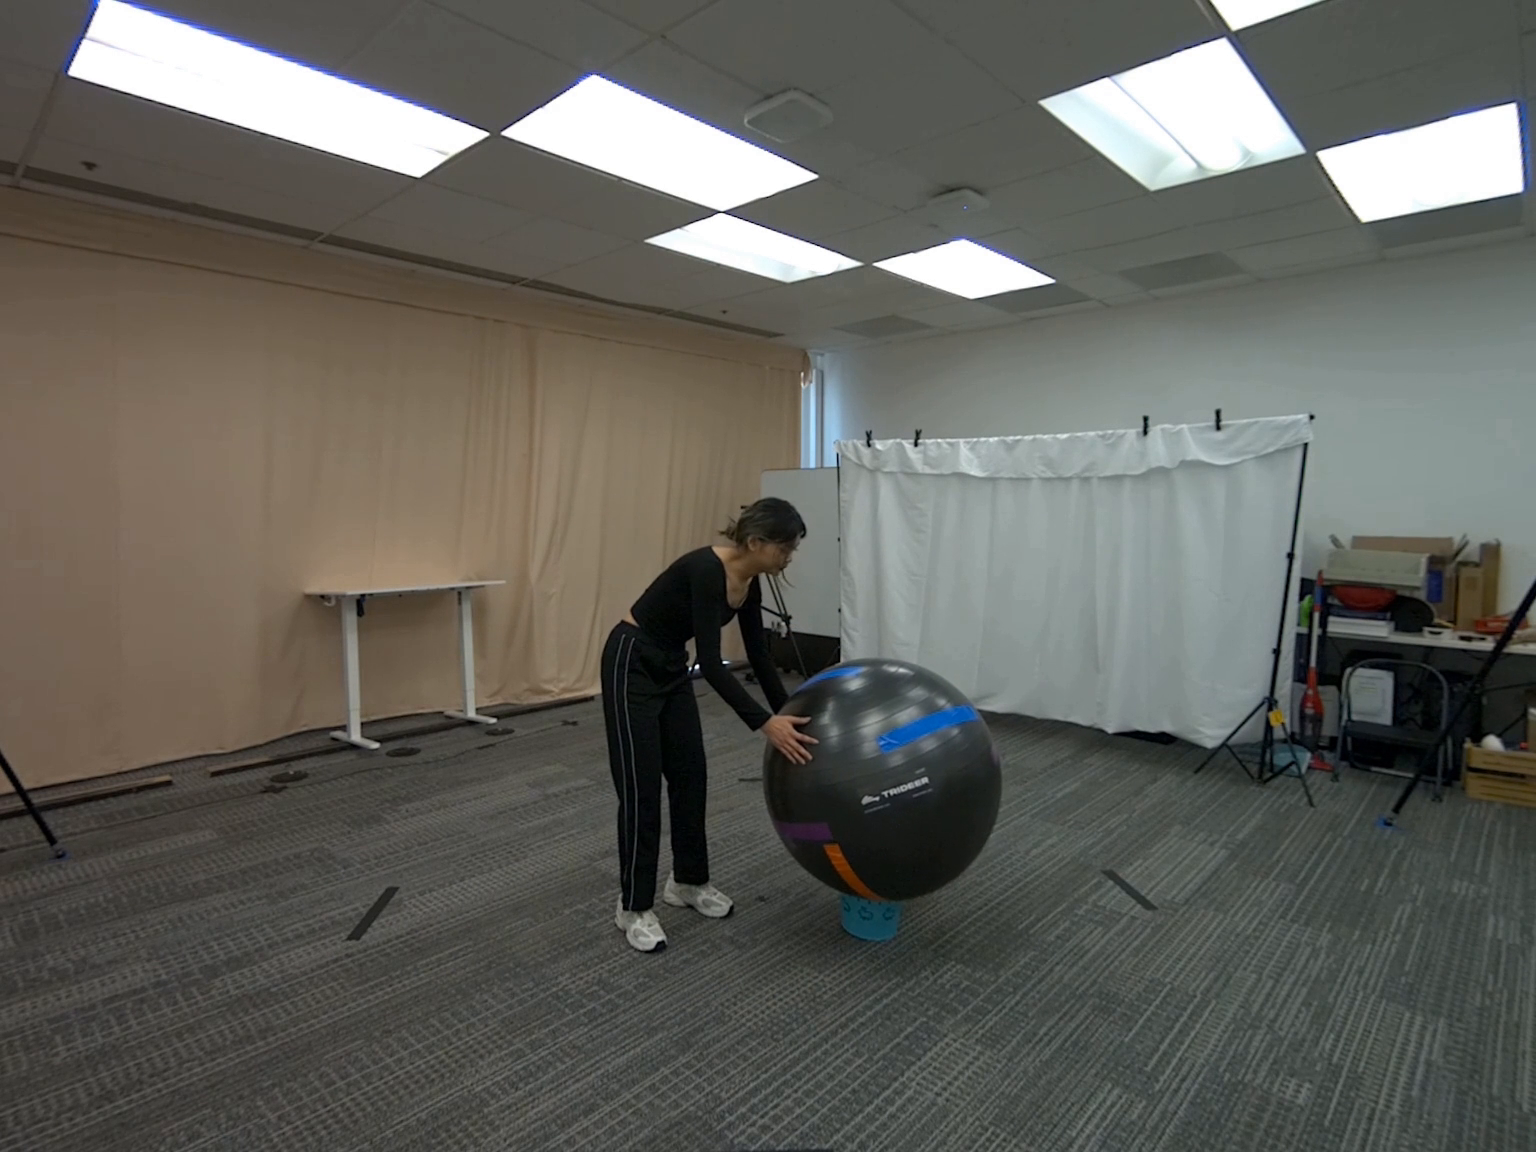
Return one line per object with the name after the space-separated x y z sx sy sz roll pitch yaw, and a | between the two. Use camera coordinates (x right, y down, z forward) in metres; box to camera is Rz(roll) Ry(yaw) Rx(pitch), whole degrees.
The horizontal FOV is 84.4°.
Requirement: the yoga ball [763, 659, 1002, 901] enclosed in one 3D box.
0.361 0.651 2.729 0.757 0.756 0.760 0 4 -2 | yoga ball
